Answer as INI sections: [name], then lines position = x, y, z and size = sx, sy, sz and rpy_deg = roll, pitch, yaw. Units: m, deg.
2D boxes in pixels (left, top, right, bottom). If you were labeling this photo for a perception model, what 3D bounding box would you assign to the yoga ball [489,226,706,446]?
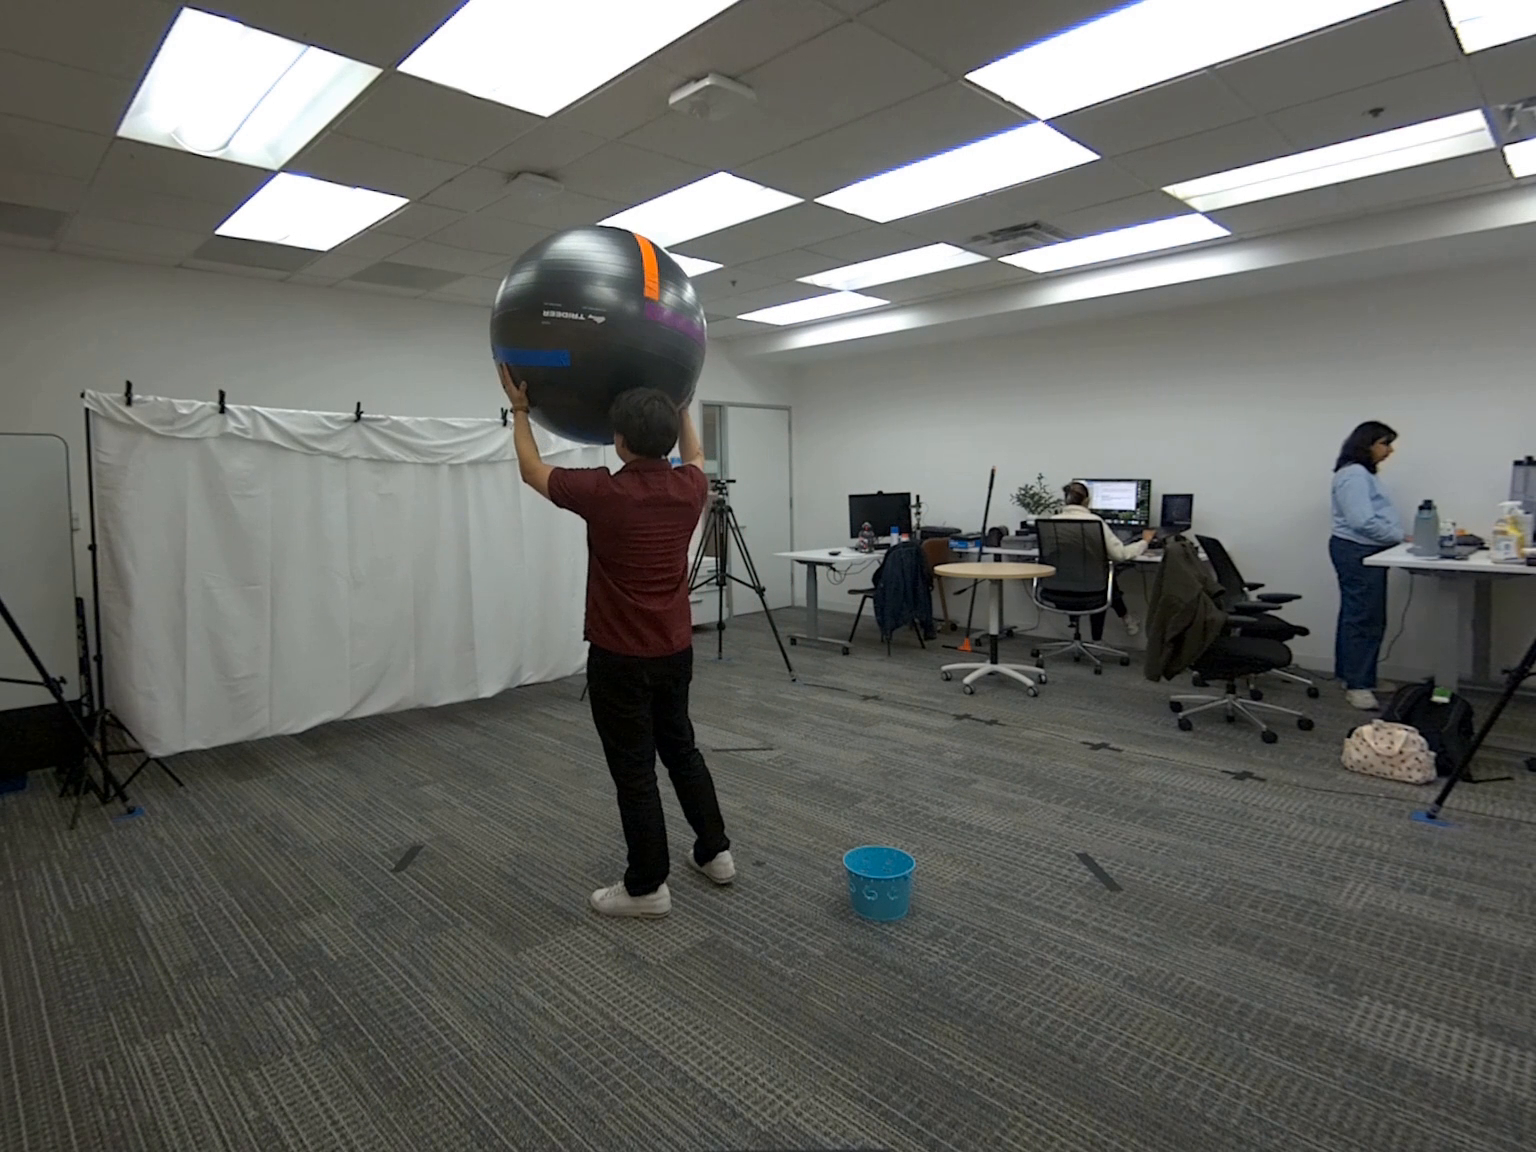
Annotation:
[yoga ball]
position = -0.602, -0.839, 3.030
size = 0.757, 0.755, 0.762
rpy_deg = -1, 5, -2
